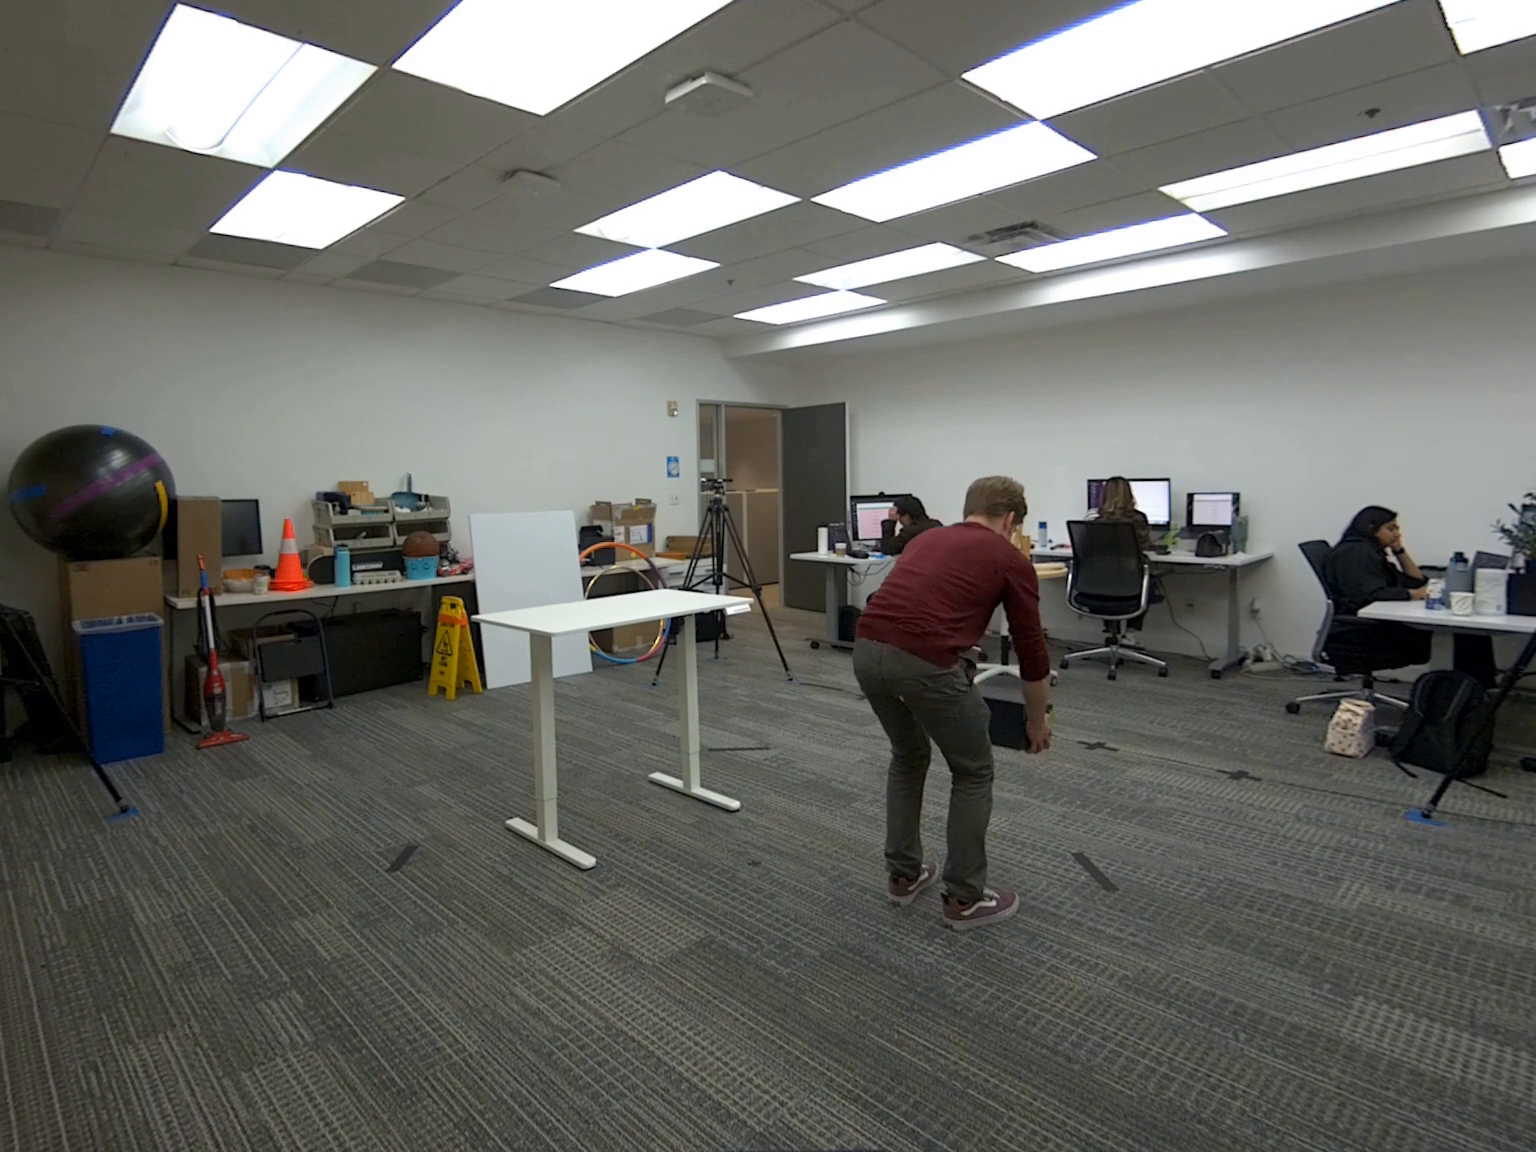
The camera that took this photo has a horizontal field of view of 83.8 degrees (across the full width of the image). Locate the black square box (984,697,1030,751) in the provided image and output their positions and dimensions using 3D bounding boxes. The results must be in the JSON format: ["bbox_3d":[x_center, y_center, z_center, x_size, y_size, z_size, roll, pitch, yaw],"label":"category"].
[{"bbox_3d":[0.836,0.499,2.964,0.210,0.156,0.235,8,-3,-44],"label":"black square box"}]
